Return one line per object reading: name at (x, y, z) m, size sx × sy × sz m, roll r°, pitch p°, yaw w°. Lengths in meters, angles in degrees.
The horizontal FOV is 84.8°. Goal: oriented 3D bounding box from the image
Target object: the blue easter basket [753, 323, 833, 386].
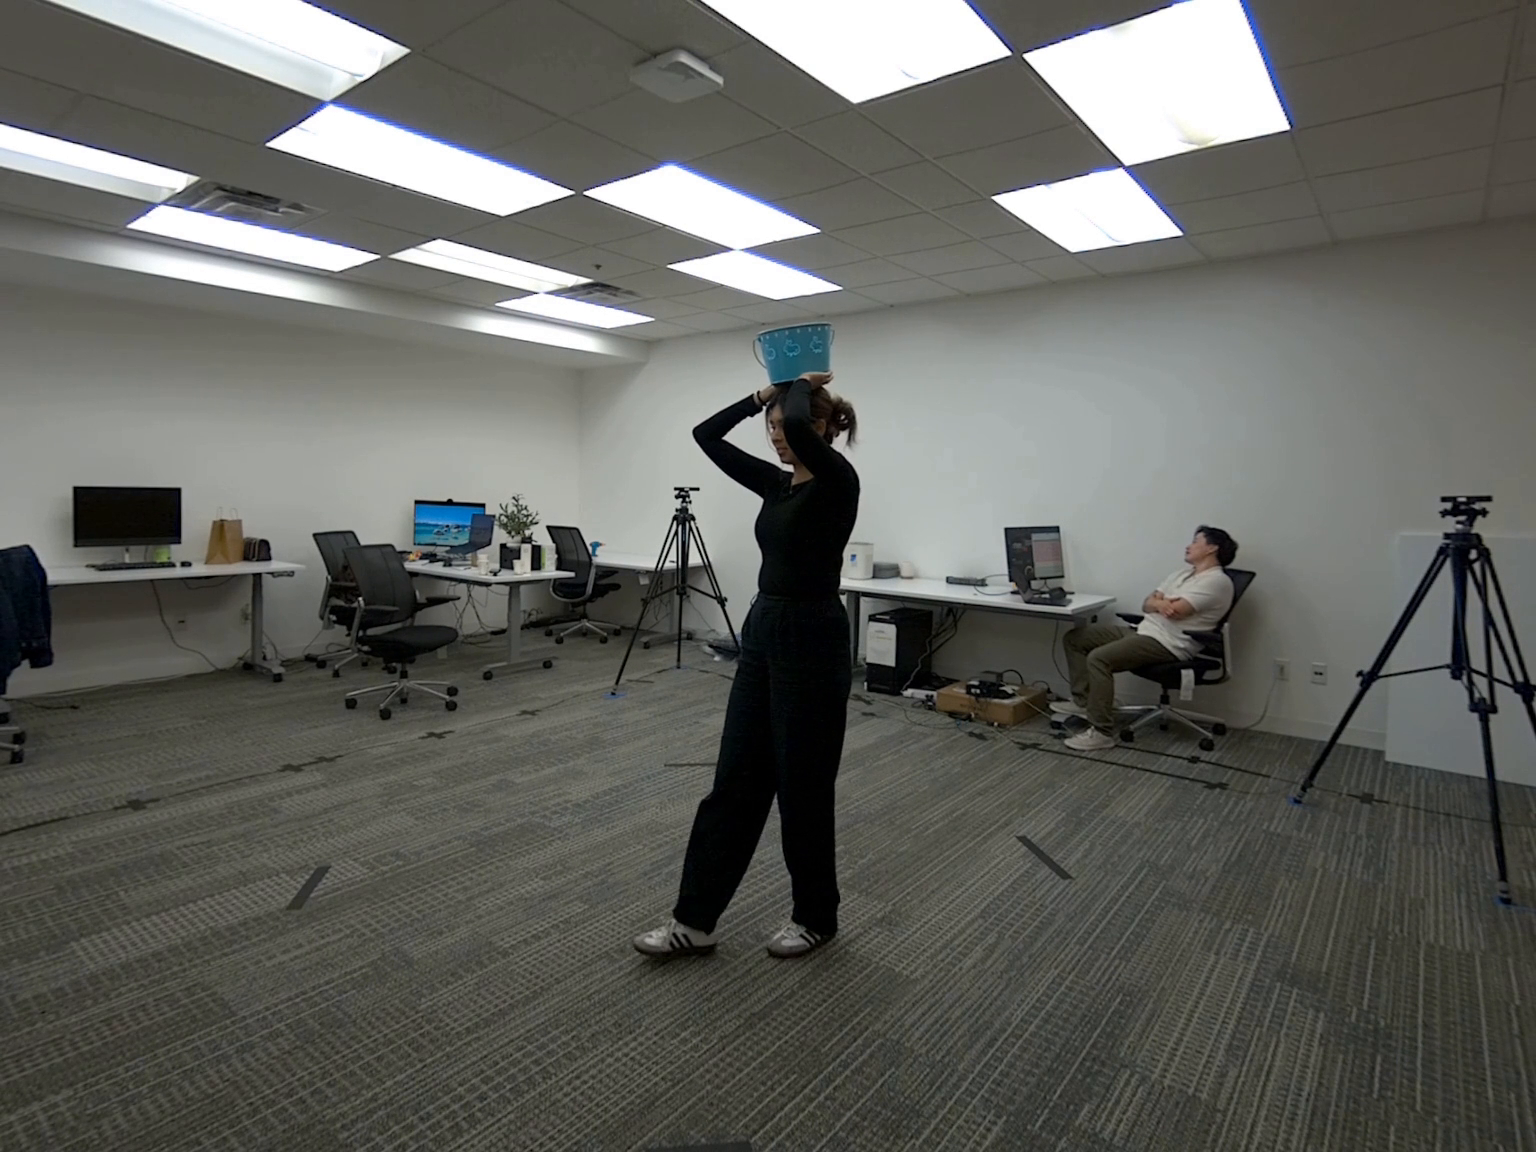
blue easter basket at (0.085, -0.660, 2.555) m, size 0.243 × 0.154 × 0.246 m, roll -6°, pitch 10°, yaw -1°
